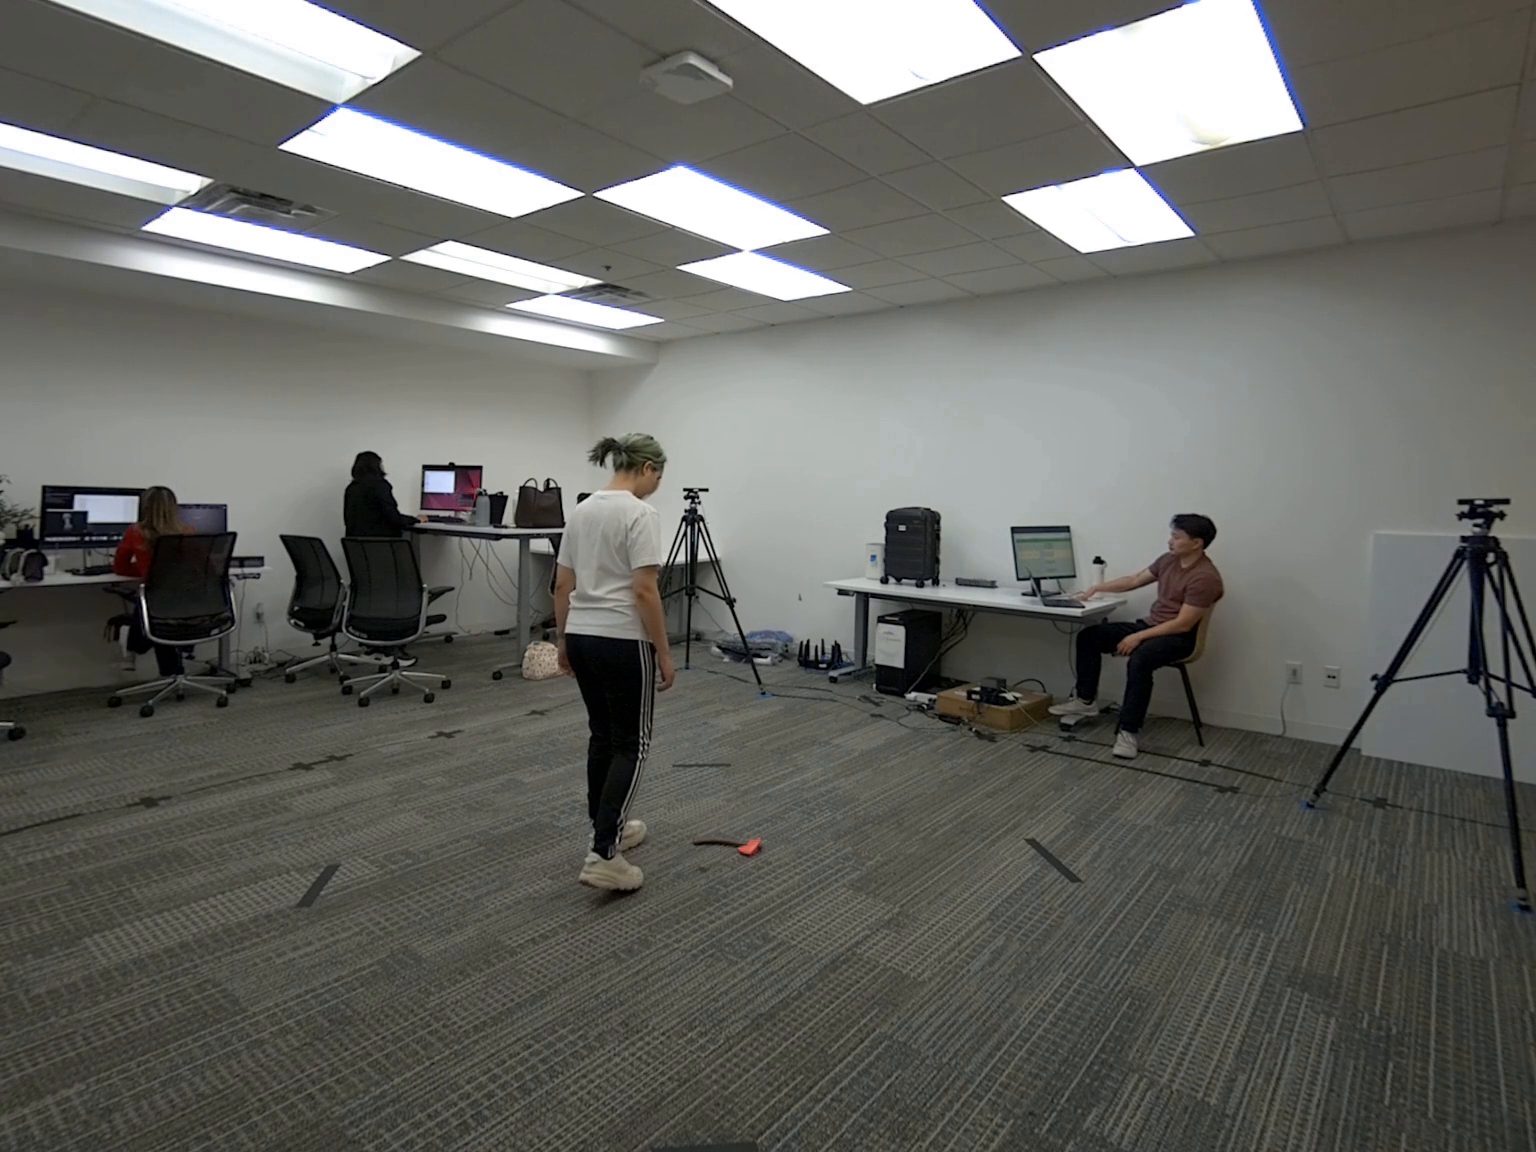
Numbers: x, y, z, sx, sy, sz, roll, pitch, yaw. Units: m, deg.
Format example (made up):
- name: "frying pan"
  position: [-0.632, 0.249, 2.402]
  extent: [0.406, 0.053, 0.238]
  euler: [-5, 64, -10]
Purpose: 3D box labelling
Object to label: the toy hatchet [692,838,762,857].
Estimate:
- name: "toy hatchet"
  position: [-0.168, 1.050, 3.281]
  extent: [0.270, 0.029, 0.132]
  euler: [-2, 9, 1]
